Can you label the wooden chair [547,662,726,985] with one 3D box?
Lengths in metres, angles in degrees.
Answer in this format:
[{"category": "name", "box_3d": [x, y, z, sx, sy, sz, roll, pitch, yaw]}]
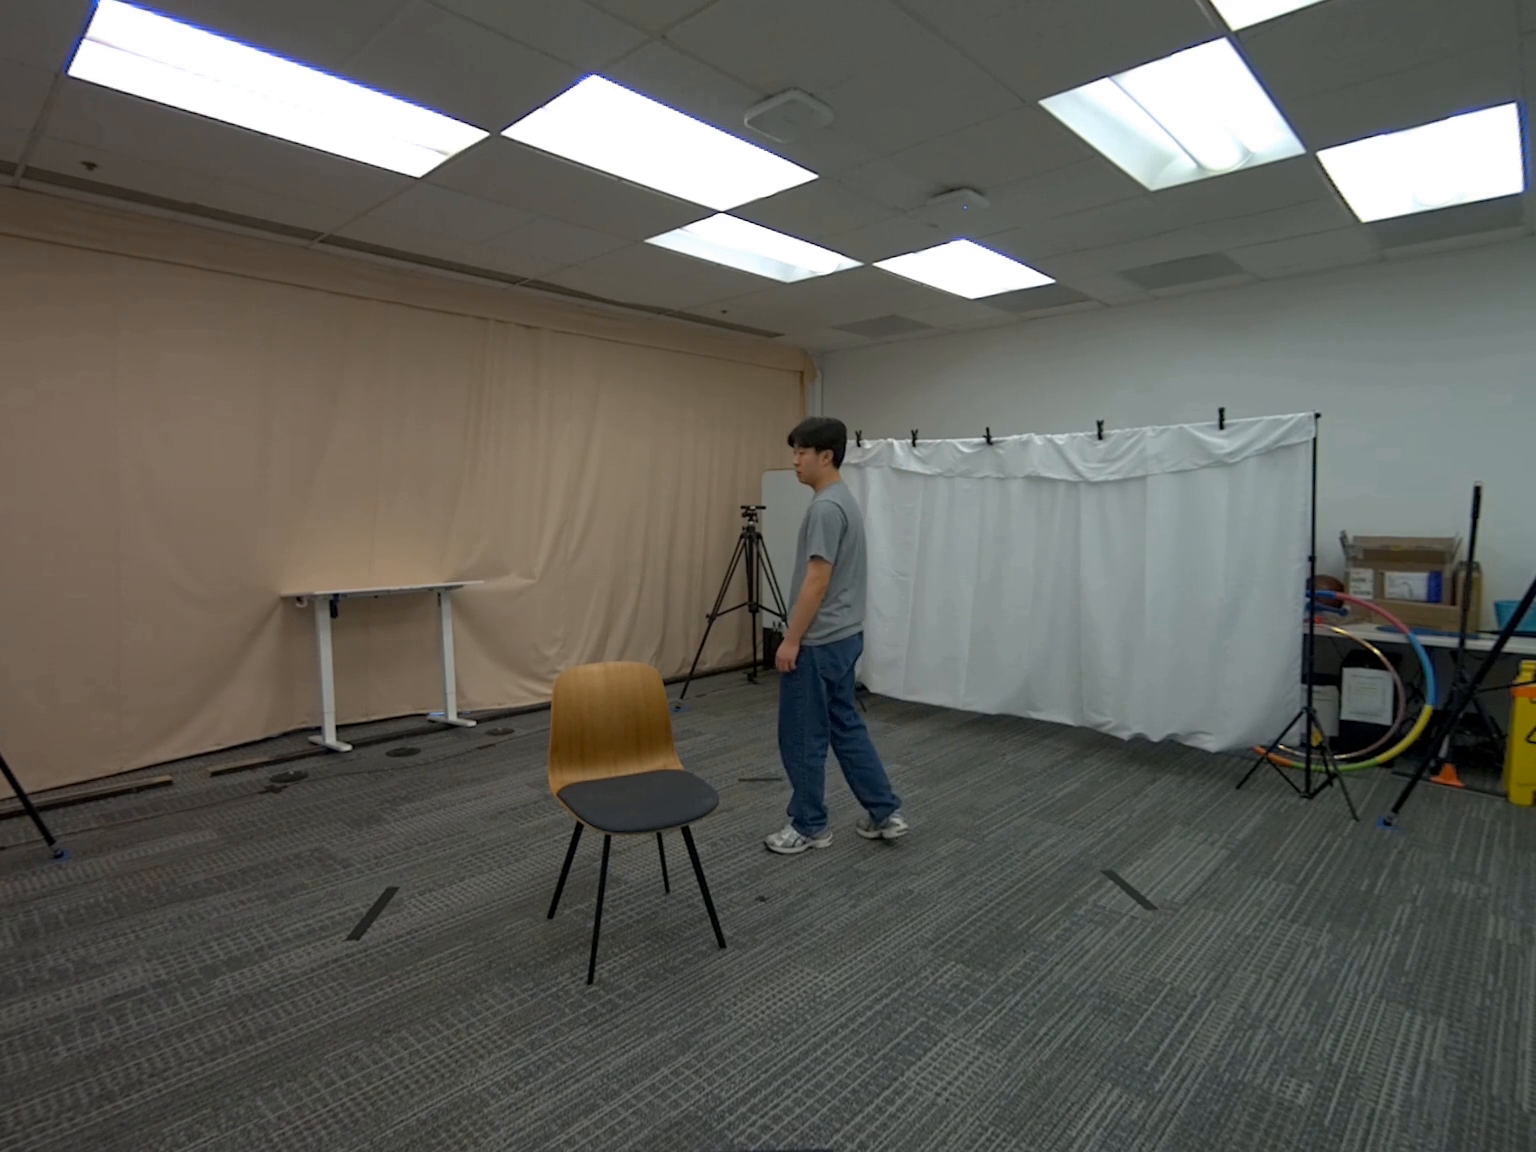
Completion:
[{"category": "wooden chair", "box_3d": [-0.436, 0.742, 2.715, 0.466, 0.878, 0.536, -2, -1, -28]}]
